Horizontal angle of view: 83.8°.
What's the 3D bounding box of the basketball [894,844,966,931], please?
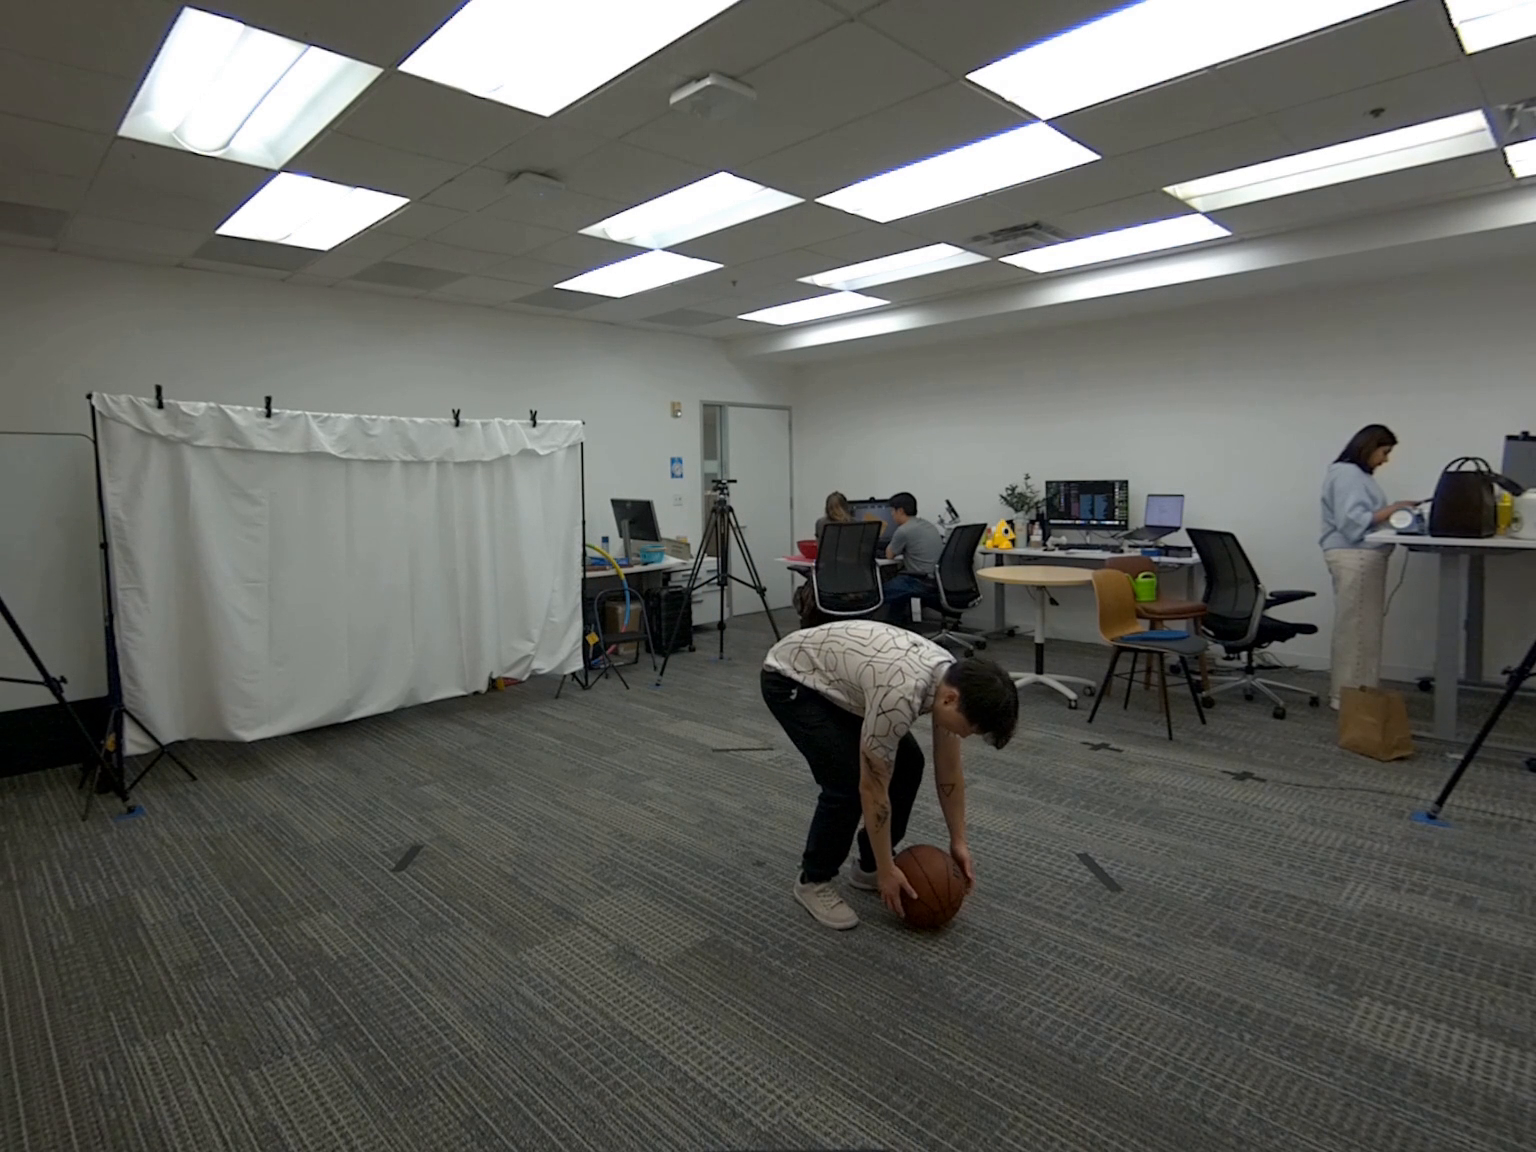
[{"bbox_3d":[0.486,0.964,2.672,0.236,0.235,0.237,-1,5,-2],"label":"basketball"}]
